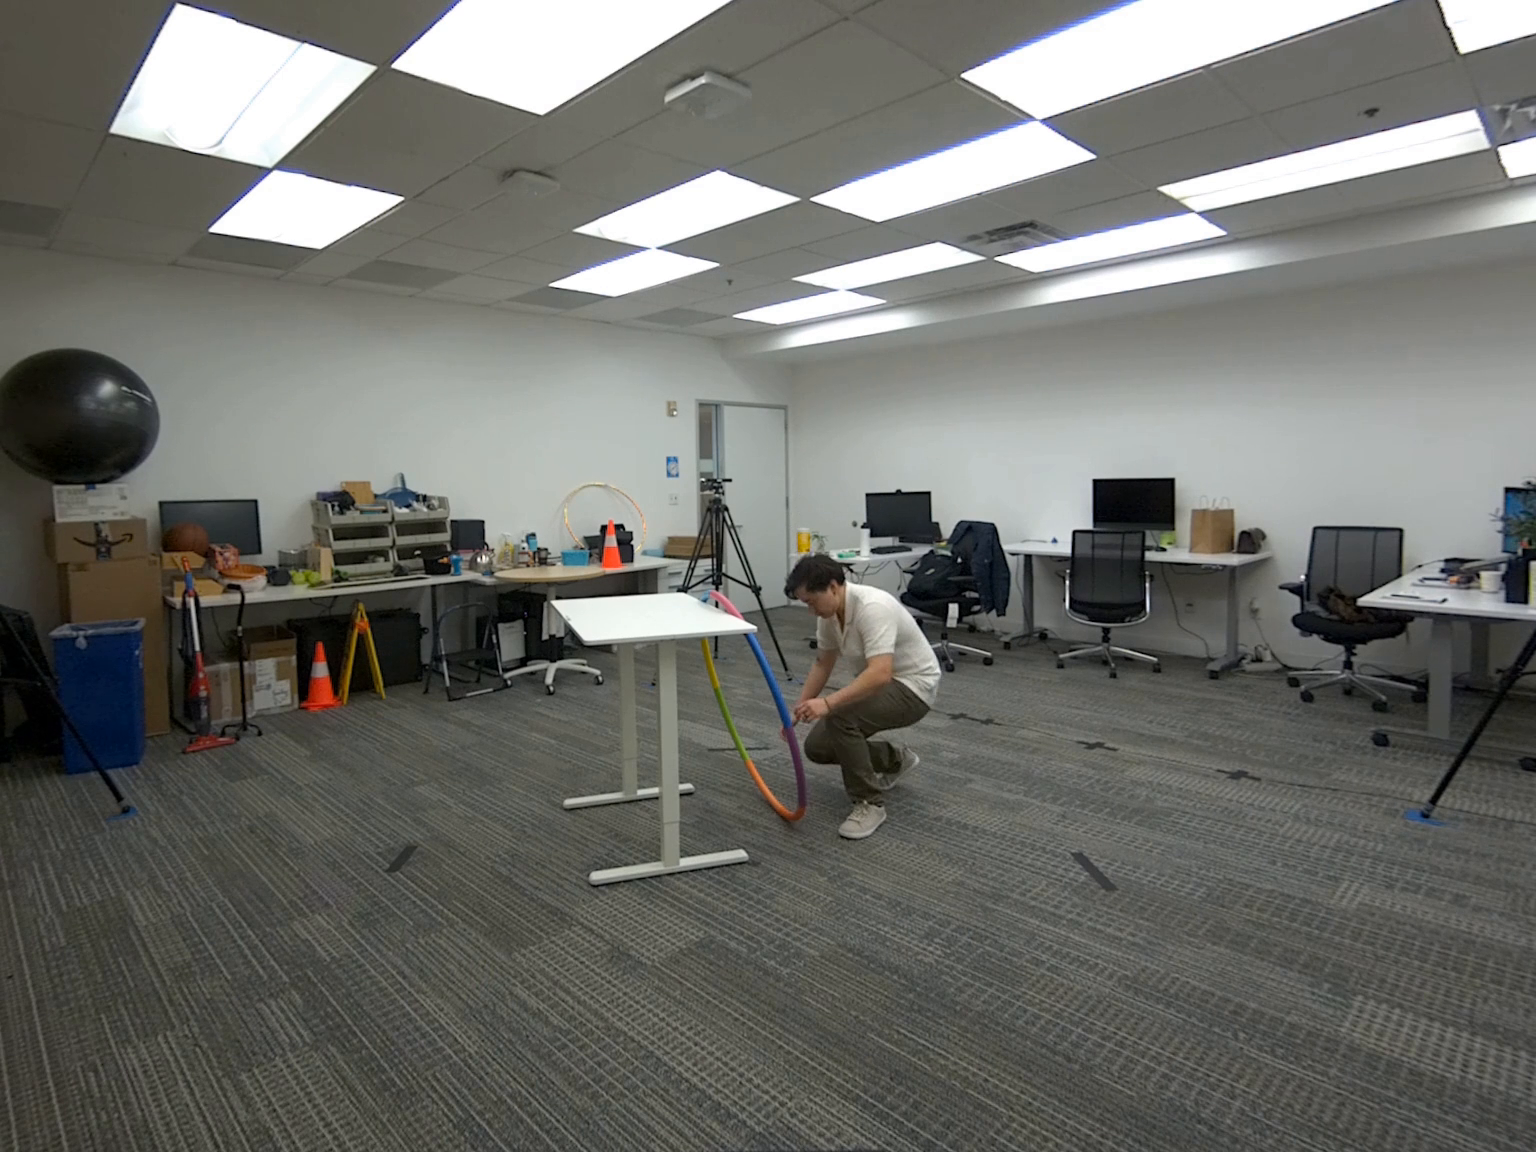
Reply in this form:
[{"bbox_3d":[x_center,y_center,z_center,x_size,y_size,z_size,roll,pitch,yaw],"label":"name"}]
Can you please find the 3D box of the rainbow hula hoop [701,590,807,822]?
[{"bbox_3d":[-0.072,0.520,3.520,0.035,0.969,0.999,-18,10,-17],"label":"rainbow hula hoop"}]
